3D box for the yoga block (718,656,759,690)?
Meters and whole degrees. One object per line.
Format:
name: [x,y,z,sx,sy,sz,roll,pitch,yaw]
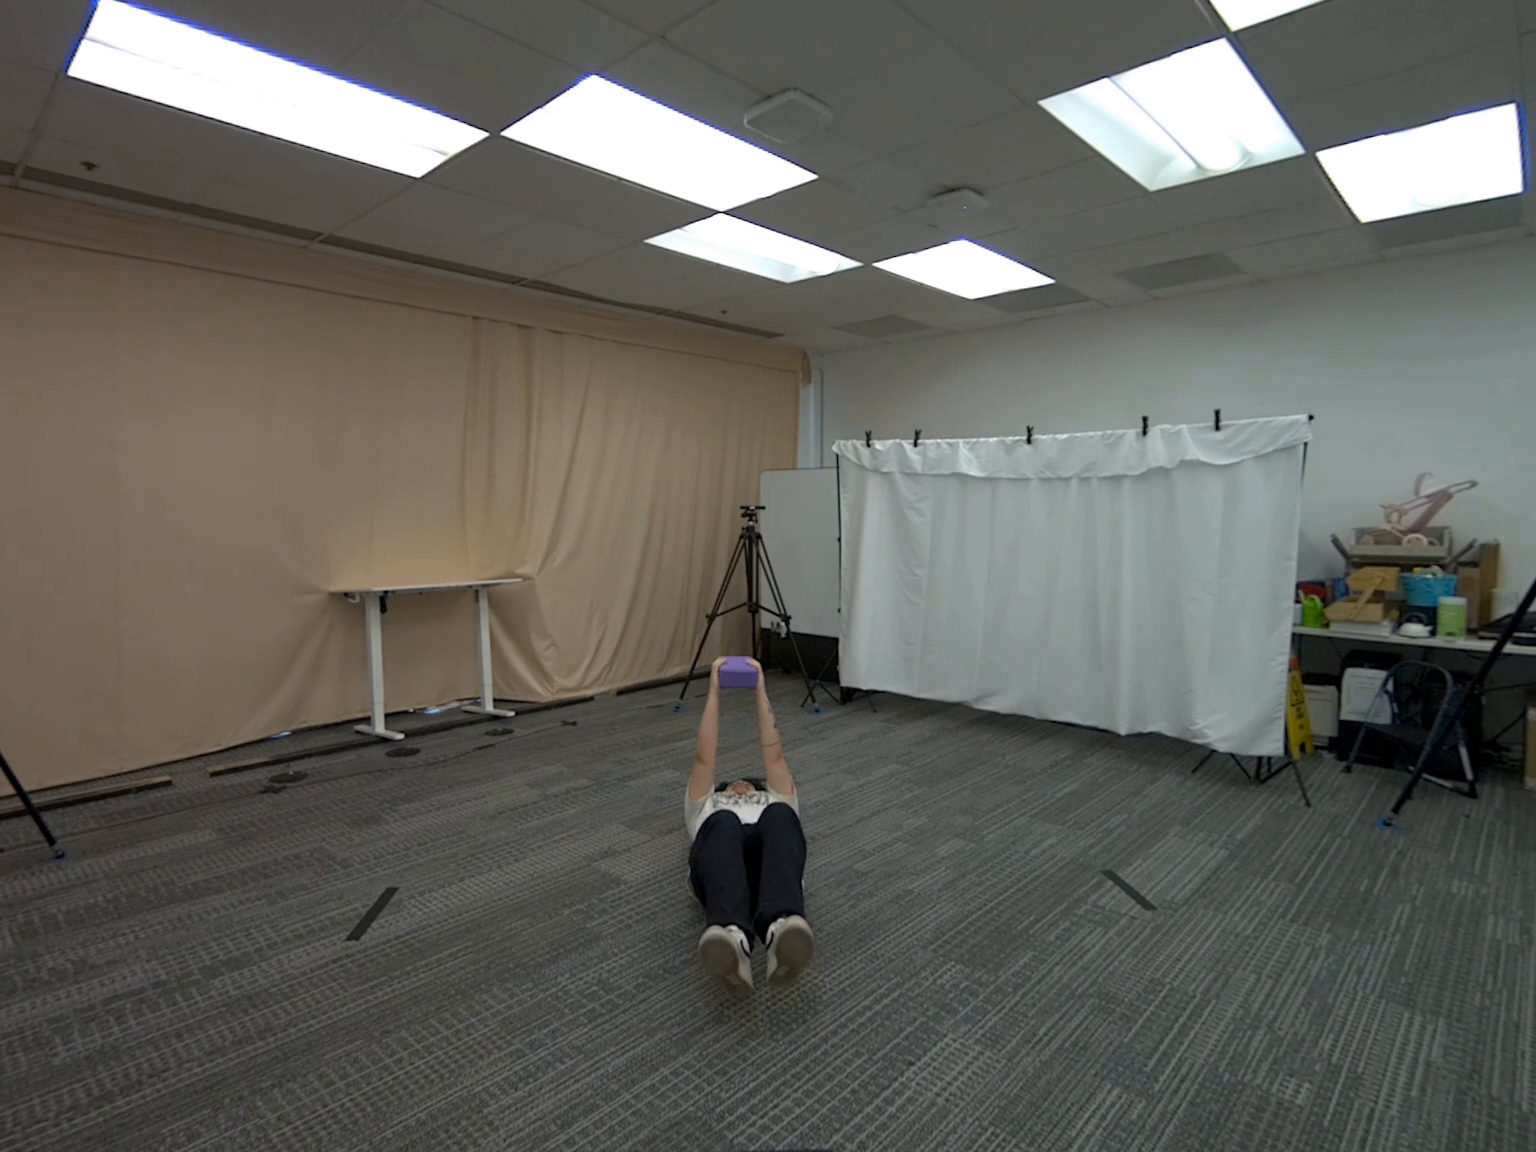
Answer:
yoga block: [-0.122,0.391,3.435,0.149,0.076,0.231,0,8,-3]
